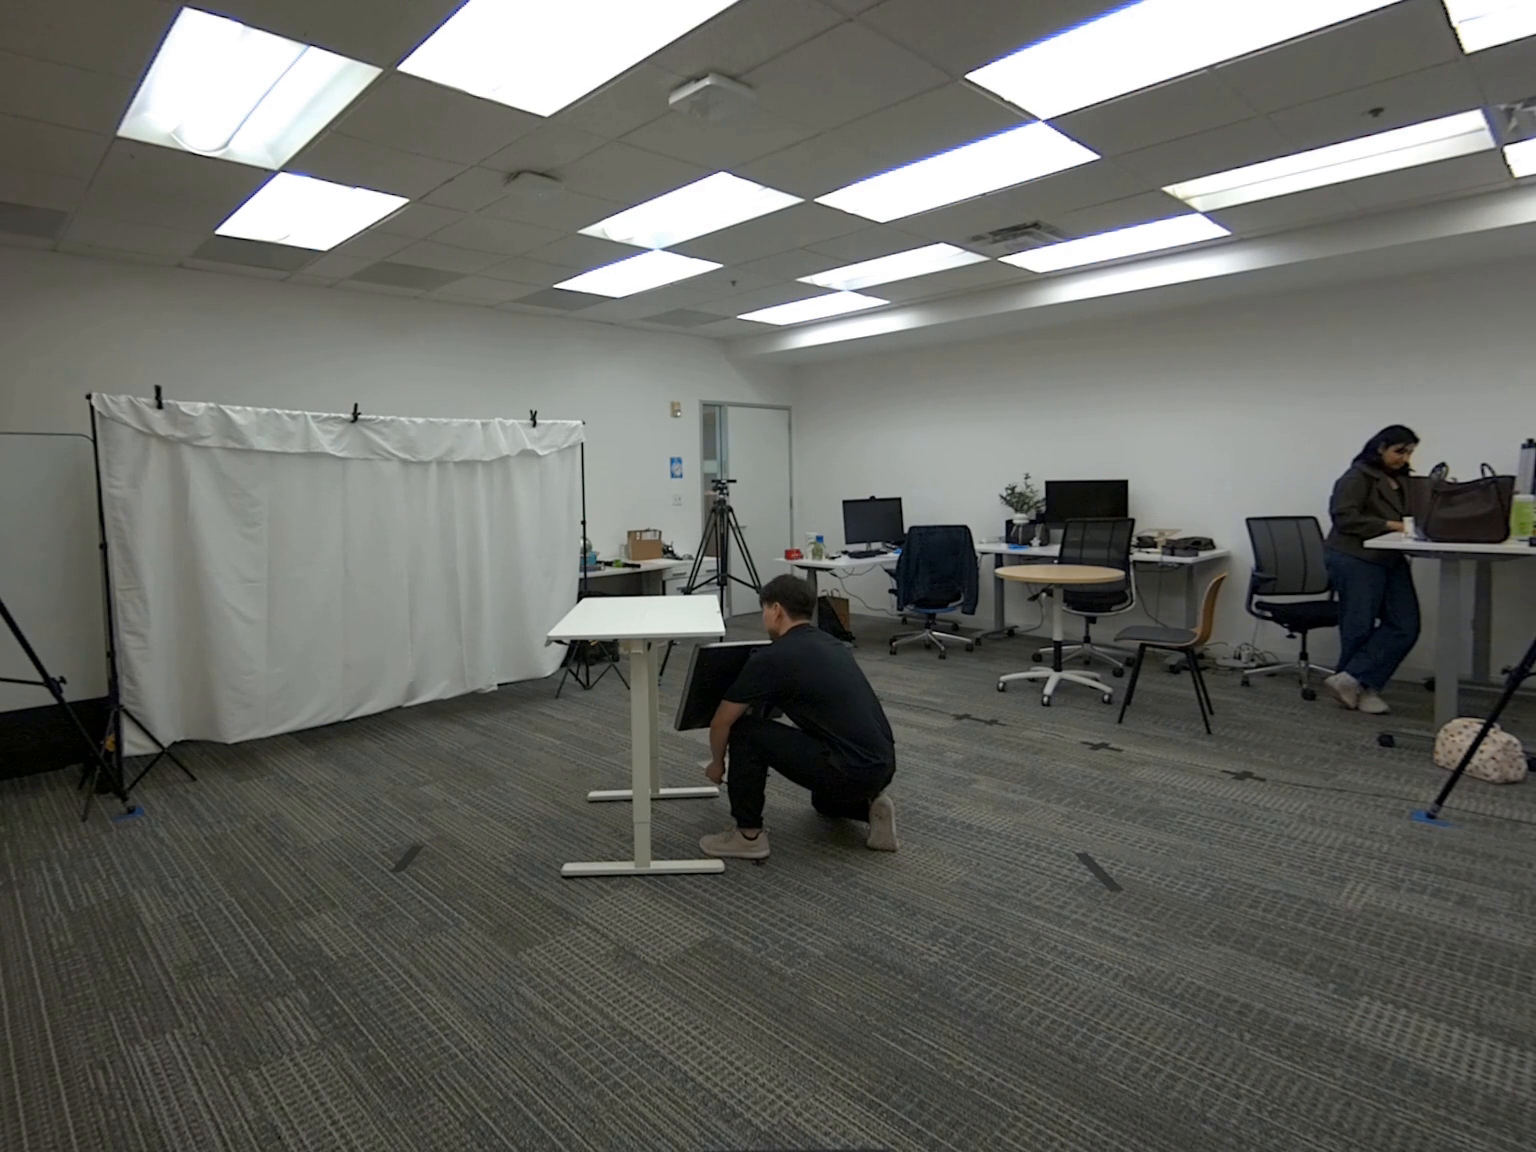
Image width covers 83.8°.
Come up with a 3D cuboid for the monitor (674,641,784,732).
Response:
[{"bbox_3d":[-0.093,0.526,3.441,0.523,0.521,0.193,3,6,-41],"label":"monitor"}]
